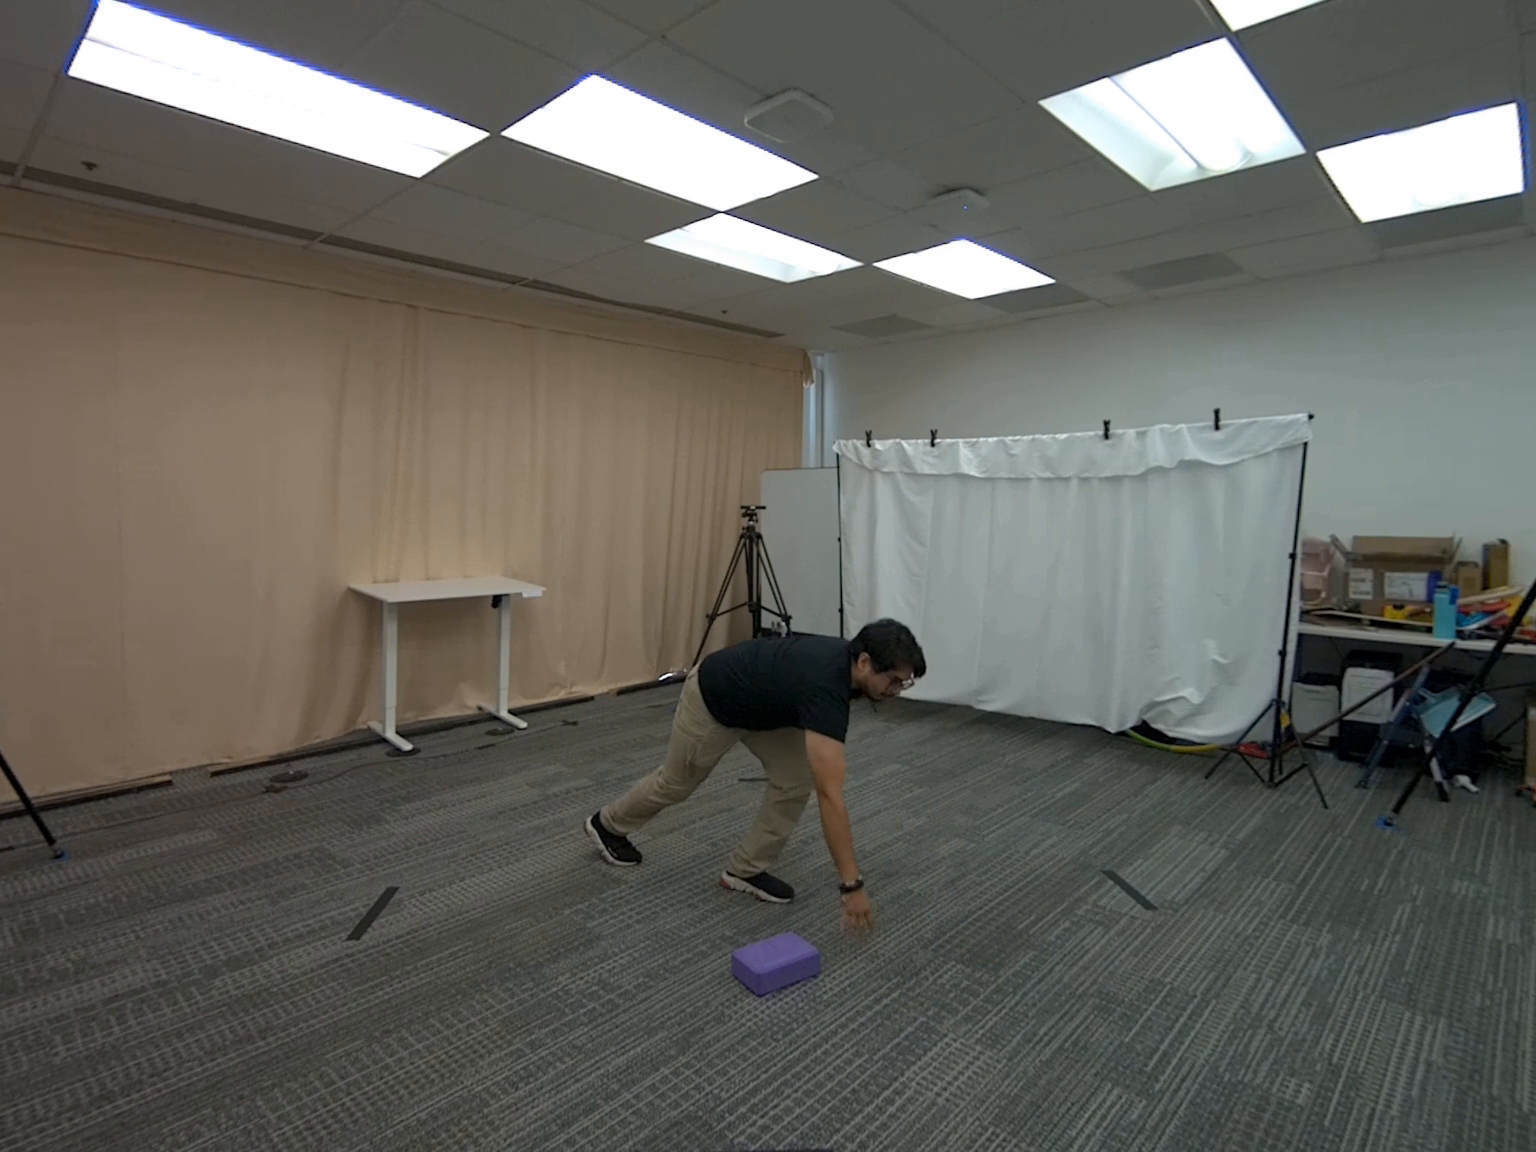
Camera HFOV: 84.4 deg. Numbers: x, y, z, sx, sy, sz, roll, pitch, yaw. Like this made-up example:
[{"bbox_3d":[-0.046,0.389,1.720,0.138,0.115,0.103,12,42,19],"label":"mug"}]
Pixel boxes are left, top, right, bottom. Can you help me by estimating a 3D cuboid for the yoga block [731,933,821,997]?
[{"bbox_3d":[0.028,1.141,2.495,0.223,0.076,0.153,-4,6,-33],"label":"yoga block"}]
